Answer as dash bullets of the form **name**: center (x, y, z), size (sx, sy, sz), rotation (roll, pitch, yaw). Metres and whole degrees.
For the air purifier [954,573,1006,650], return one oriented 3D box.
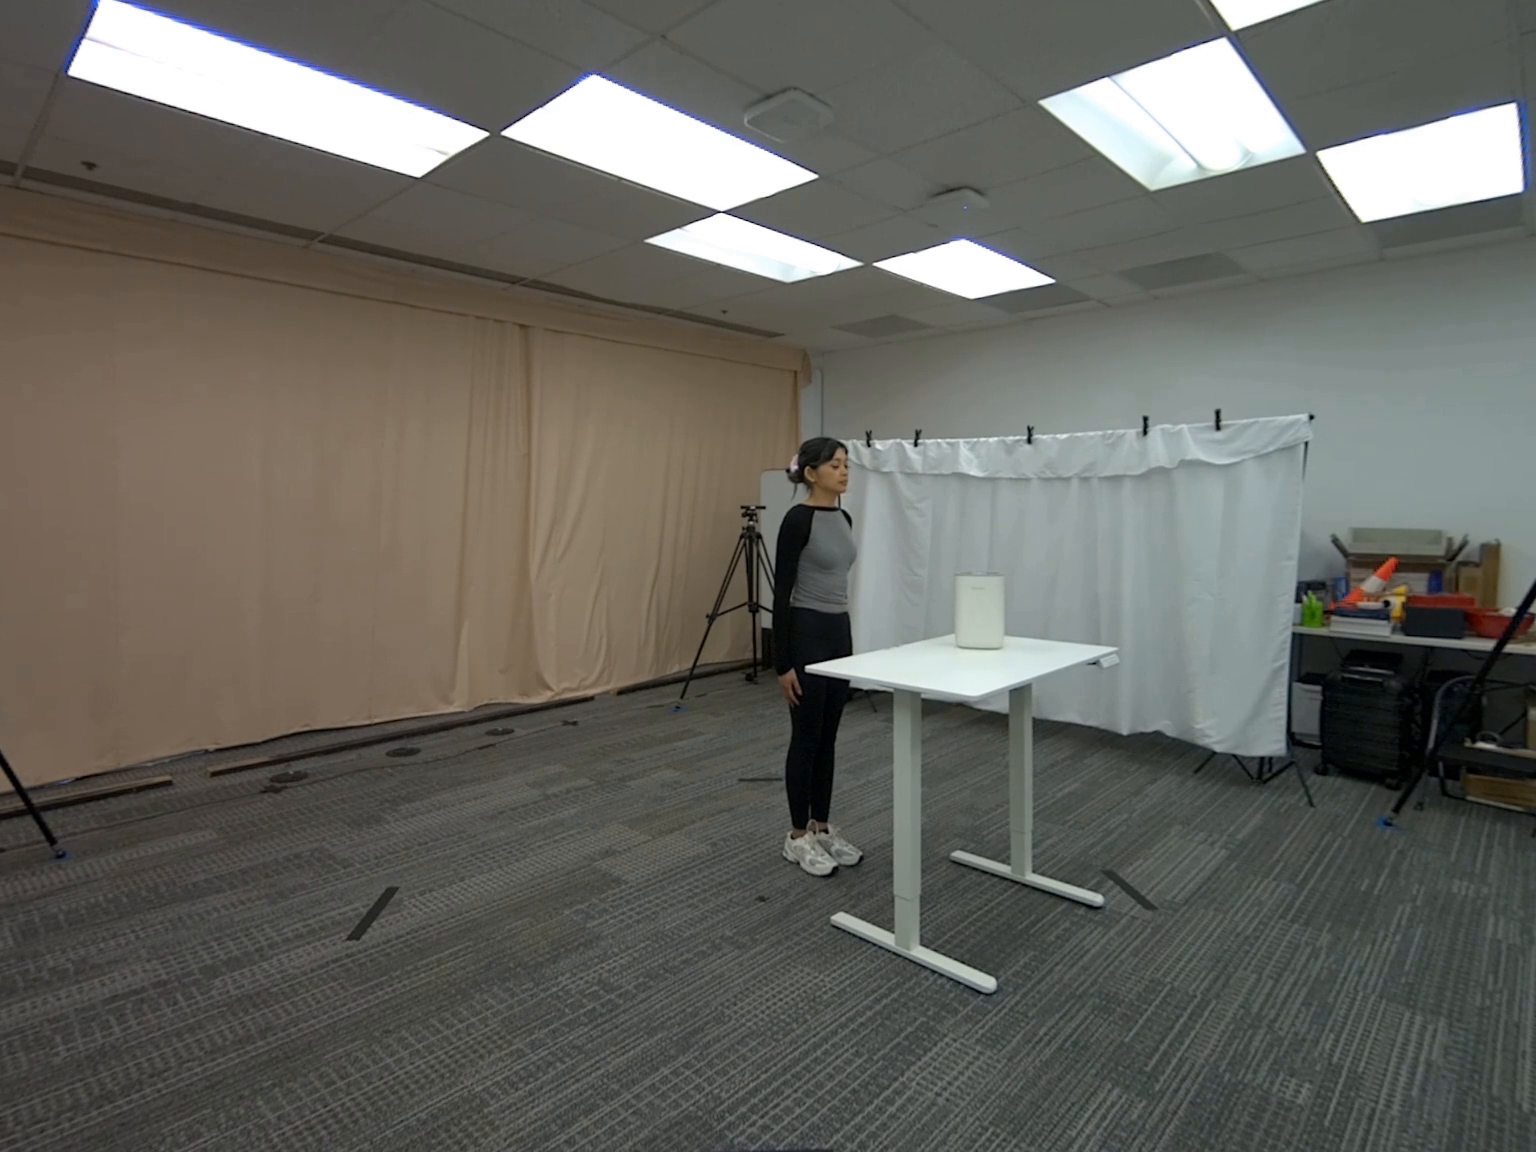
- **air purifier**: center (0.760, 0.122, 3.028), size (0.173, 0.265, 0.169), rotation (0, 4, 13)
